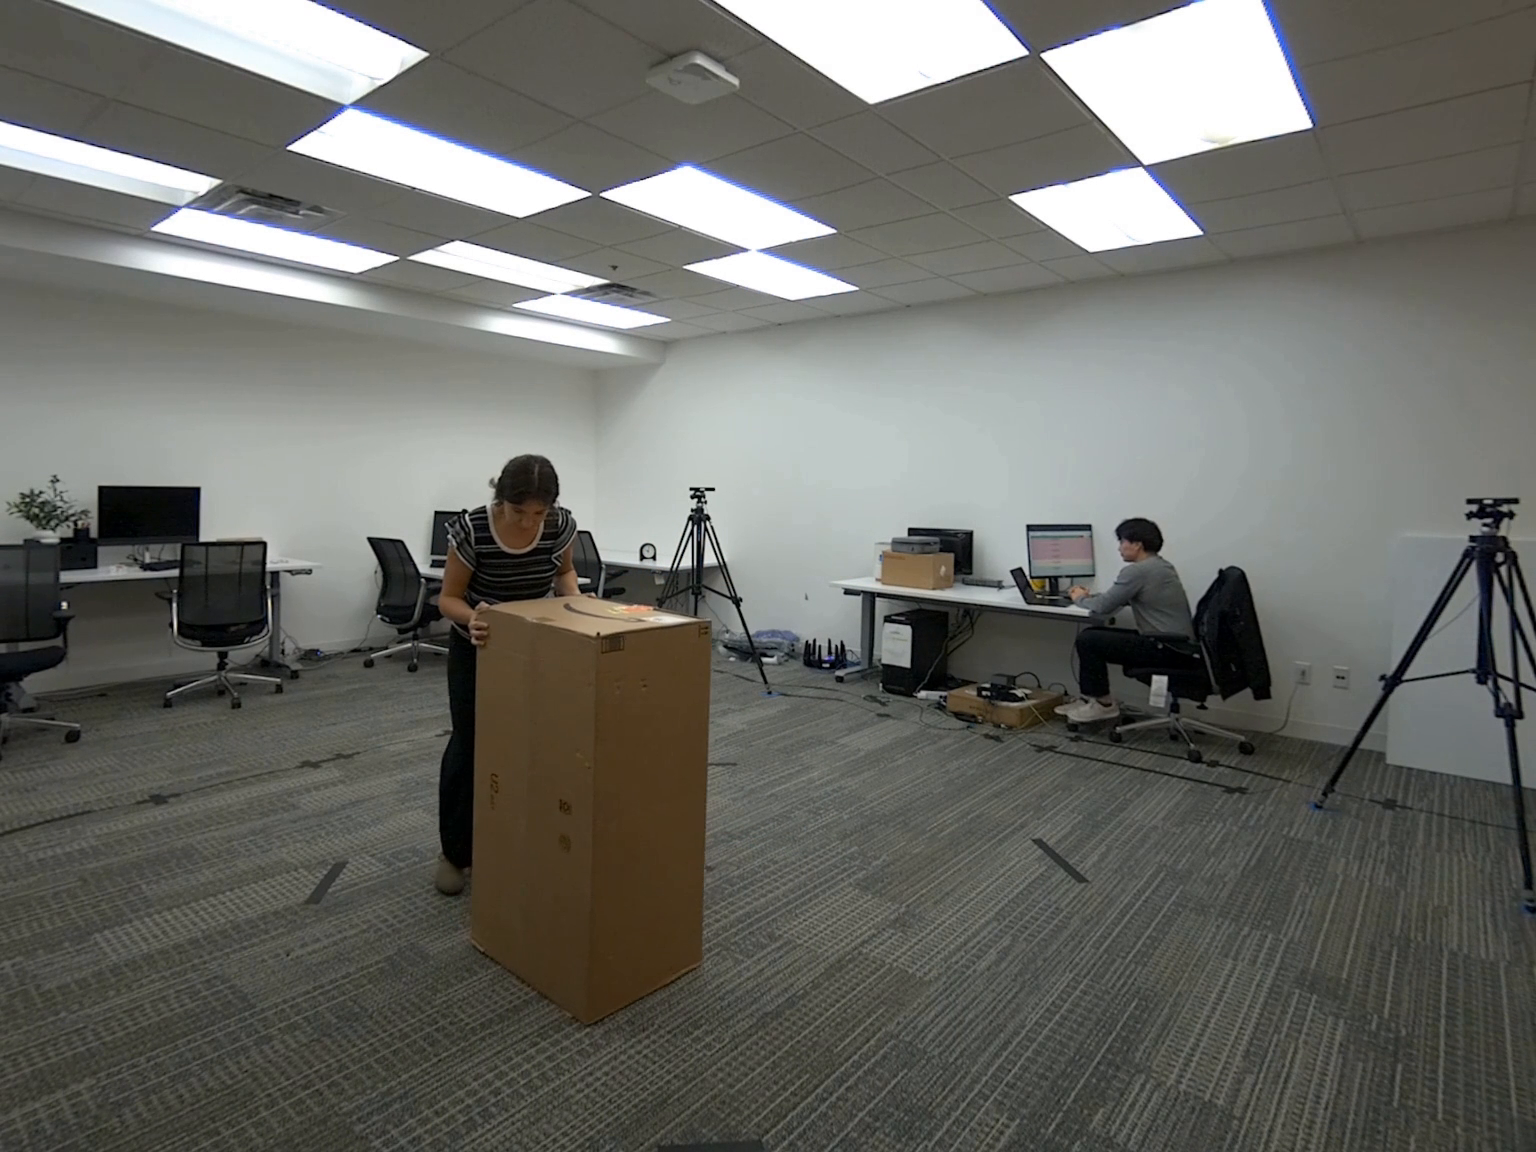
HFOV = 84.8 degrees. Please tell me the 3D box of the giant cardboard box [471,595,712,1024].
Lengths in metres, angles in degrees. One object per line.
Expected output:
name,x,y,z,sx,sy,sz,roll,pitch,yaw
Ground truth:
giant cardboard box,-0.532,0.615,2.498,0.597,1.023,0.413,5,4,42
